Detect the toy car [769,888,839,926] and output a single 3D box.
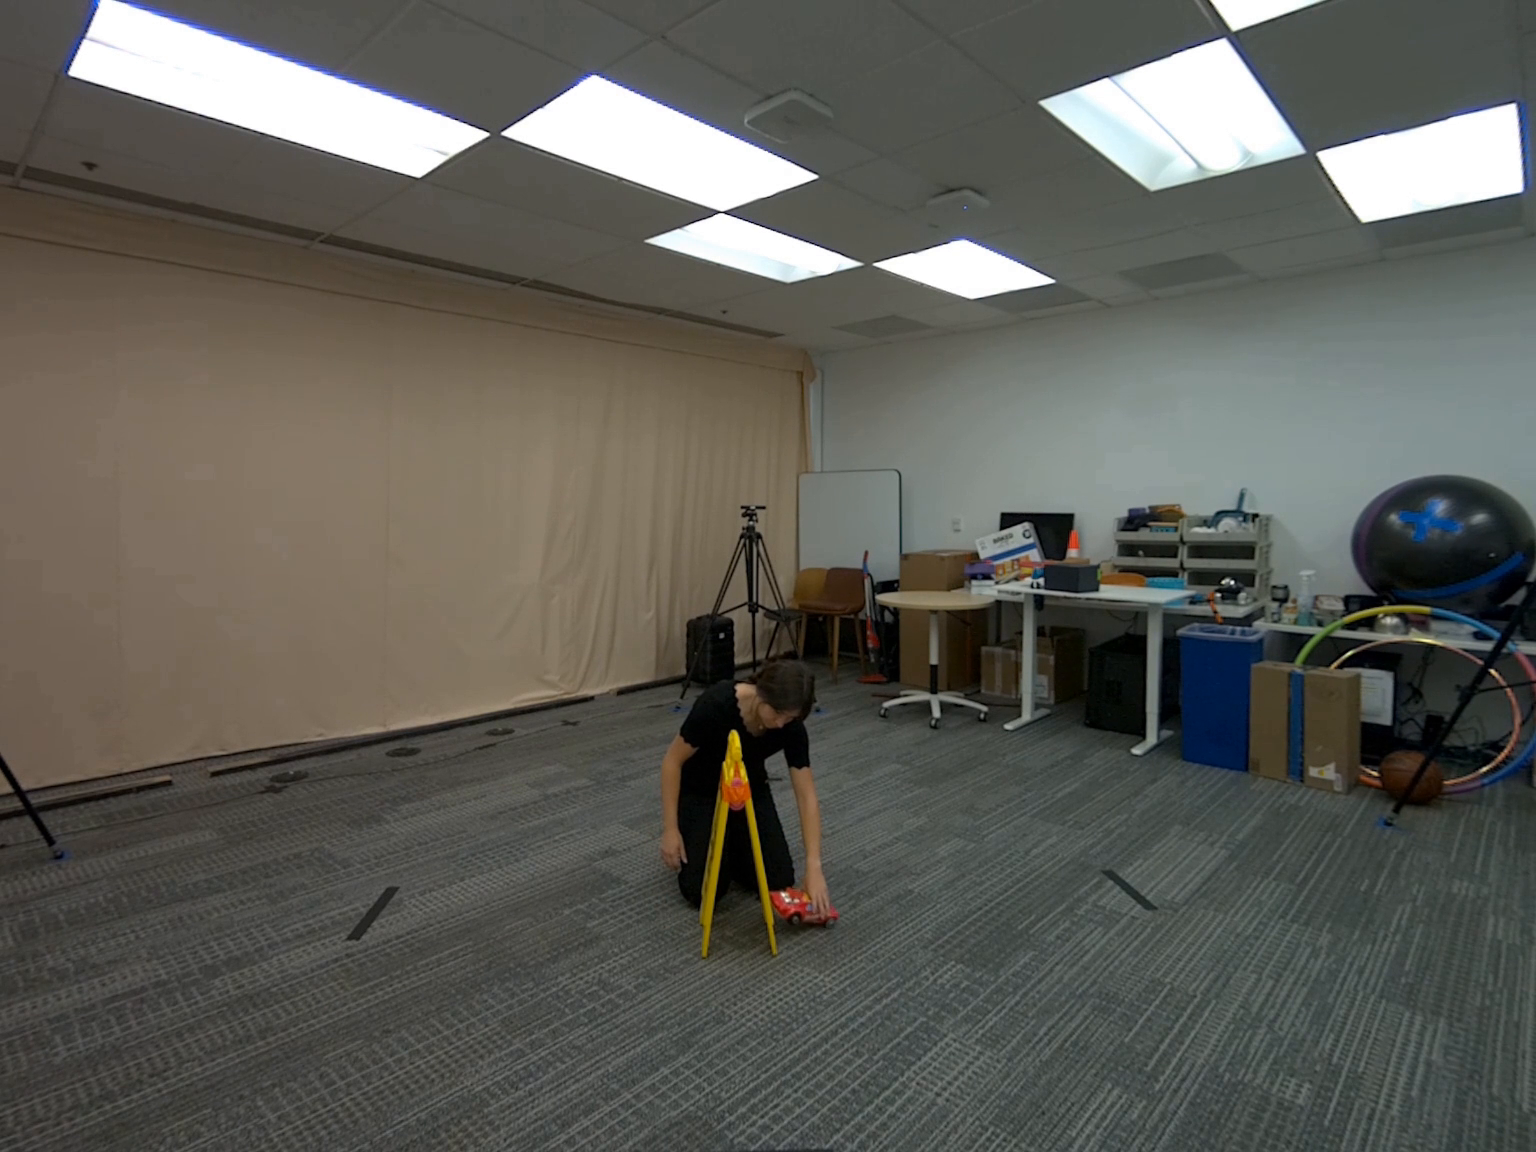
[{"bbox_3d":[0.114,1.098,2.758,0.247,0.083,0.134,31,2,-27],"label":"toy car"}]
